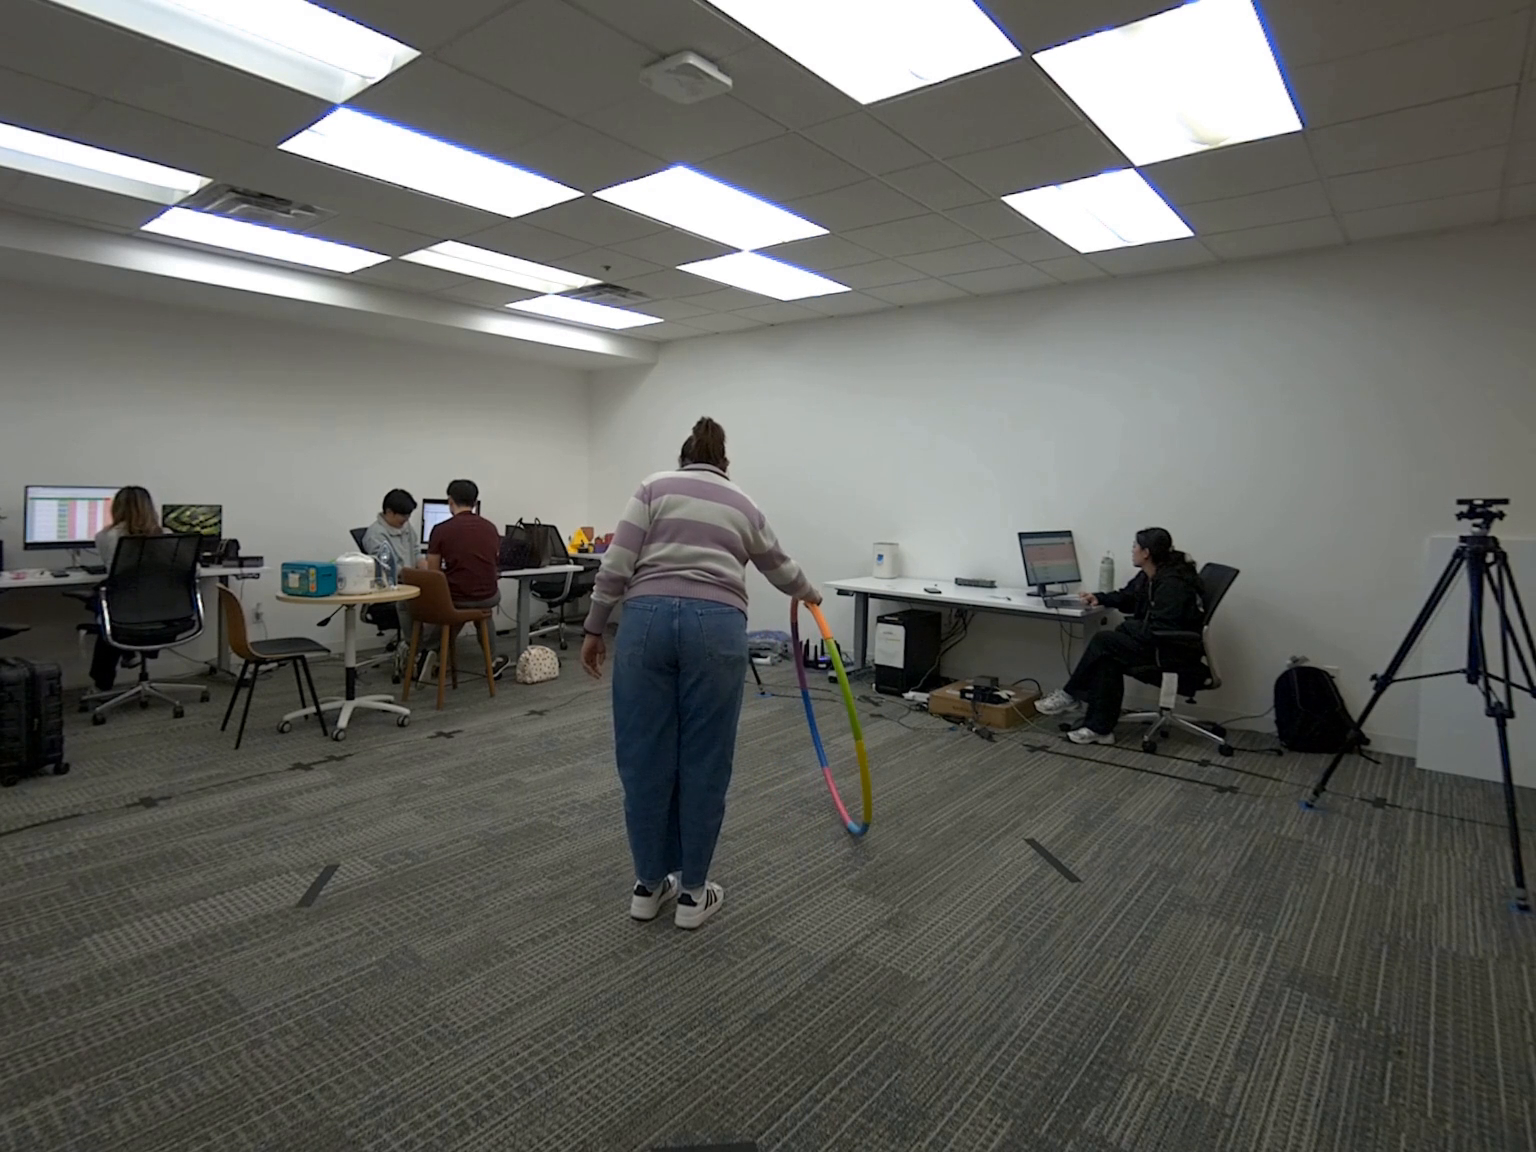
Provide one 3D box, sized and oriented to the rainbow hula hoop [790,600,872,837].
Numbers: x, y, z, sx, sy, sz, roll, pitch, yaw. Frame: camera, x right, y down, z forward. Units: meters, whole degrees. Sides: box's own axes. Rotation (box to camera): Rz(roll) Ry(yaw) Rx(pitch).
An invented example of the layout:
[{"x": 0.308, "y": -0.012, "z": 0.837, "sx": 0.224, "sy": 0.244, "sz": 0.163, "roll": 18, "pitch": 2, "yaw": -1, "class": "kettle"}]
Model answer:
[{"x": 0.226, "y": 0.543, "z": 3.464, "sx": 0.035, "sy": 0.974, "sz": 0.989, "roll": -12, "pitch": 5, "yaw": -7, "class": "rainbow hula hoop"}]
